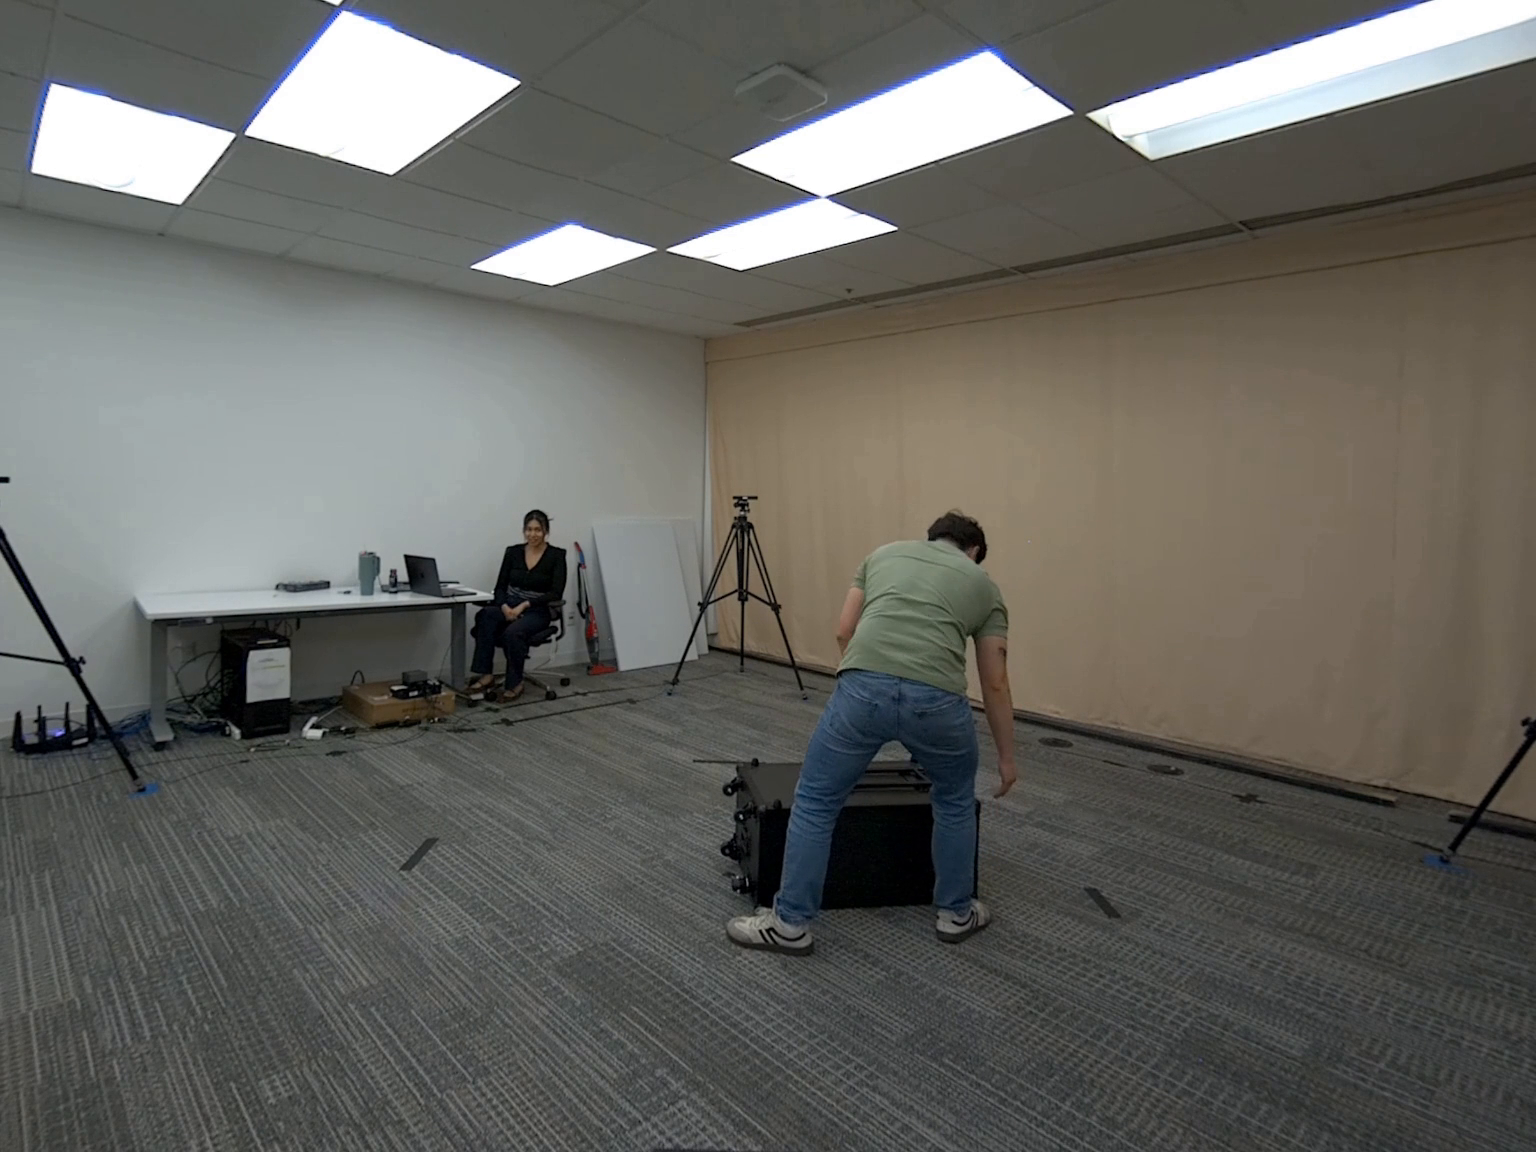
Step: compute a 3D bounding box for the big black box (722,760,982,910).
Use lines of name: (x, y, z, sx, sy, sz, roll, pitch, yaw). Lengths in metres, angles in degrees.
big black box: (0.263, 0.918, 3.086, 0.855, 0.395, 0.527, 0, 5, -10)
